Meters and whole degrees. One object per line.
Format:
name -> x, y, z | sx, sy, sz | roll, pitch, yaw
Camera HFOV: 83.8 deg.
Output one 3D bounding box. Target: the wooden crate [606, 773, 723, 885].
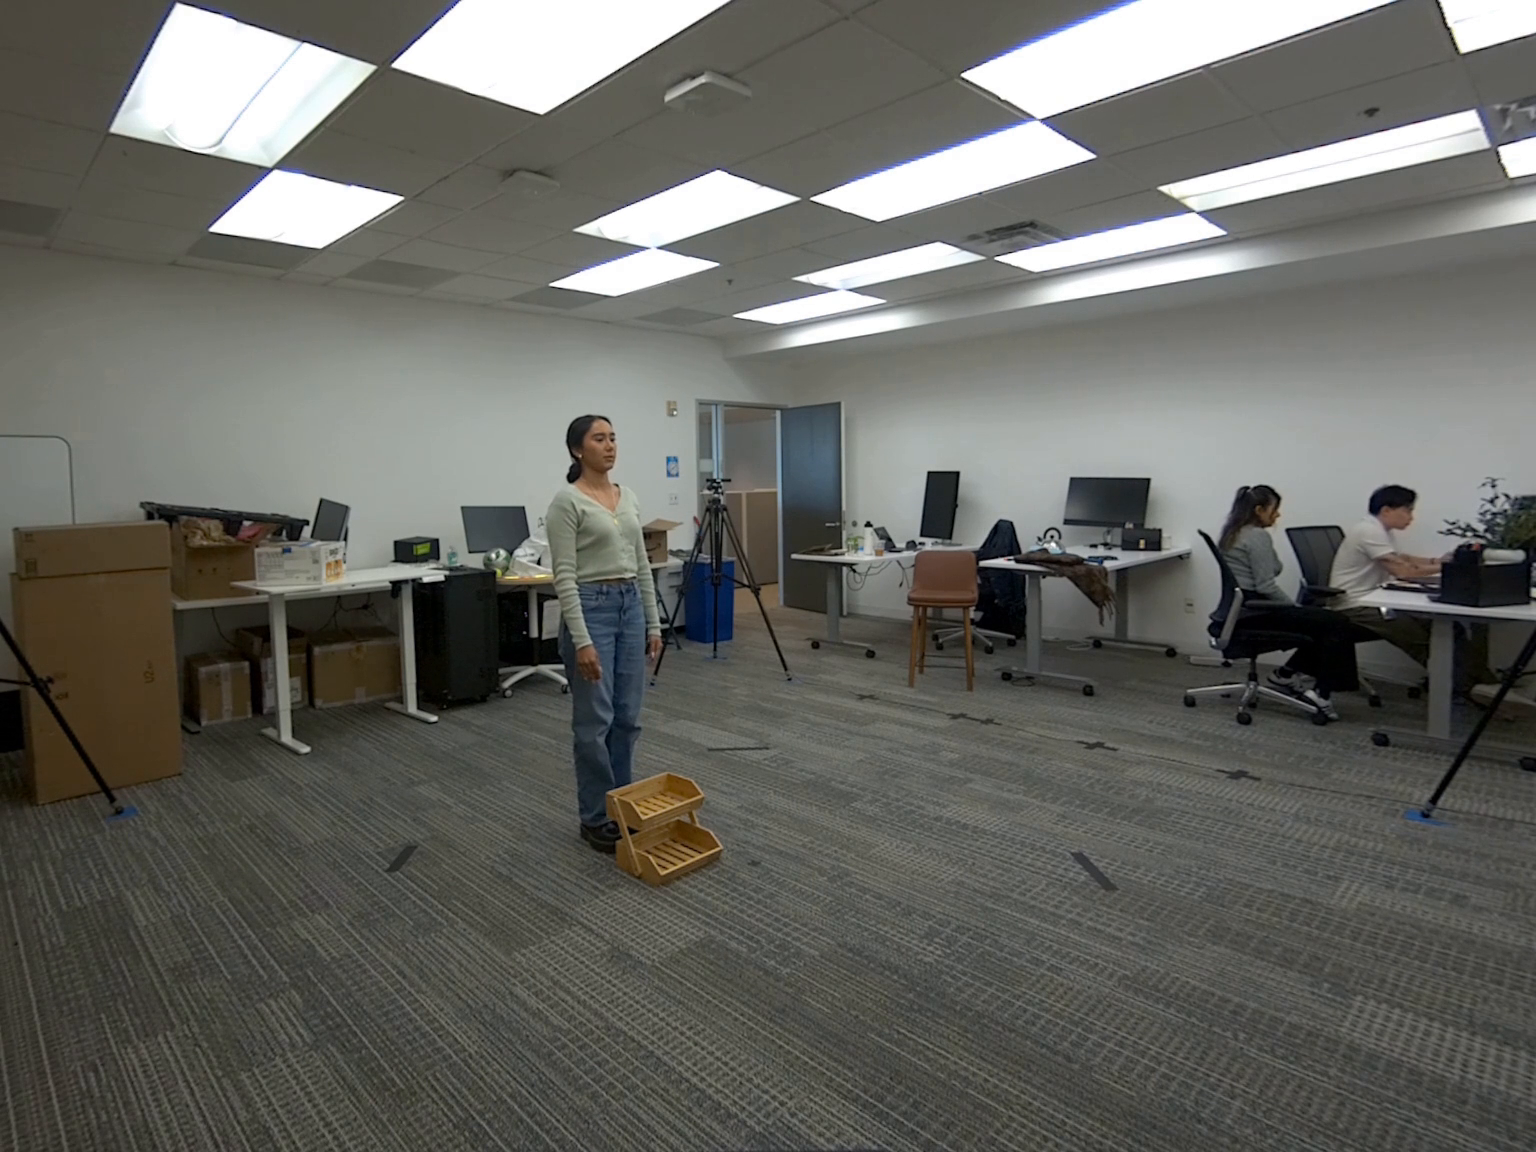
wooden crate -> -0.374, 0.912, 3.125 | 0.311, 0.272, 0.316 | 4, 7, 43
